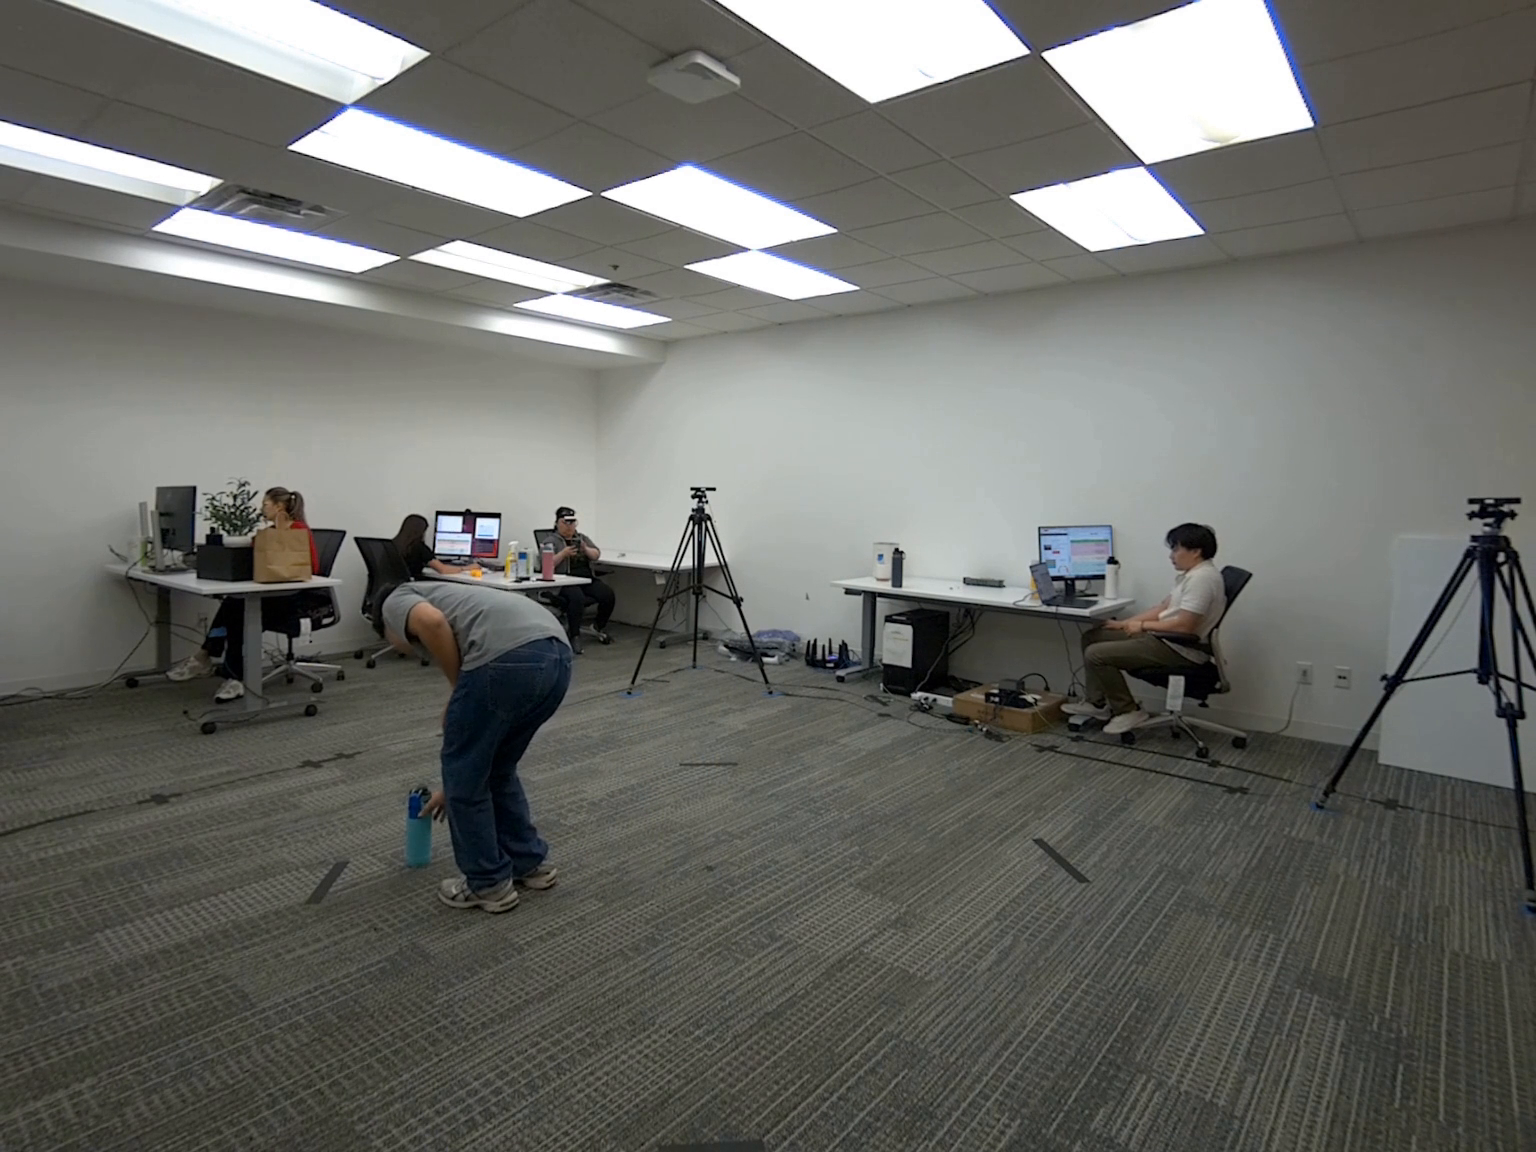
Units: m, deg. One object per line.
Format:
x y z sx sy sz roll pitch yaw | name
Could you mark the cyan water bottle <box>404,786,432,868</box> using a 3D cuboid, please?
-1.297 0.908 3.113 0.092 0.282 0.093 2 4 -2 | cyan water bottle
